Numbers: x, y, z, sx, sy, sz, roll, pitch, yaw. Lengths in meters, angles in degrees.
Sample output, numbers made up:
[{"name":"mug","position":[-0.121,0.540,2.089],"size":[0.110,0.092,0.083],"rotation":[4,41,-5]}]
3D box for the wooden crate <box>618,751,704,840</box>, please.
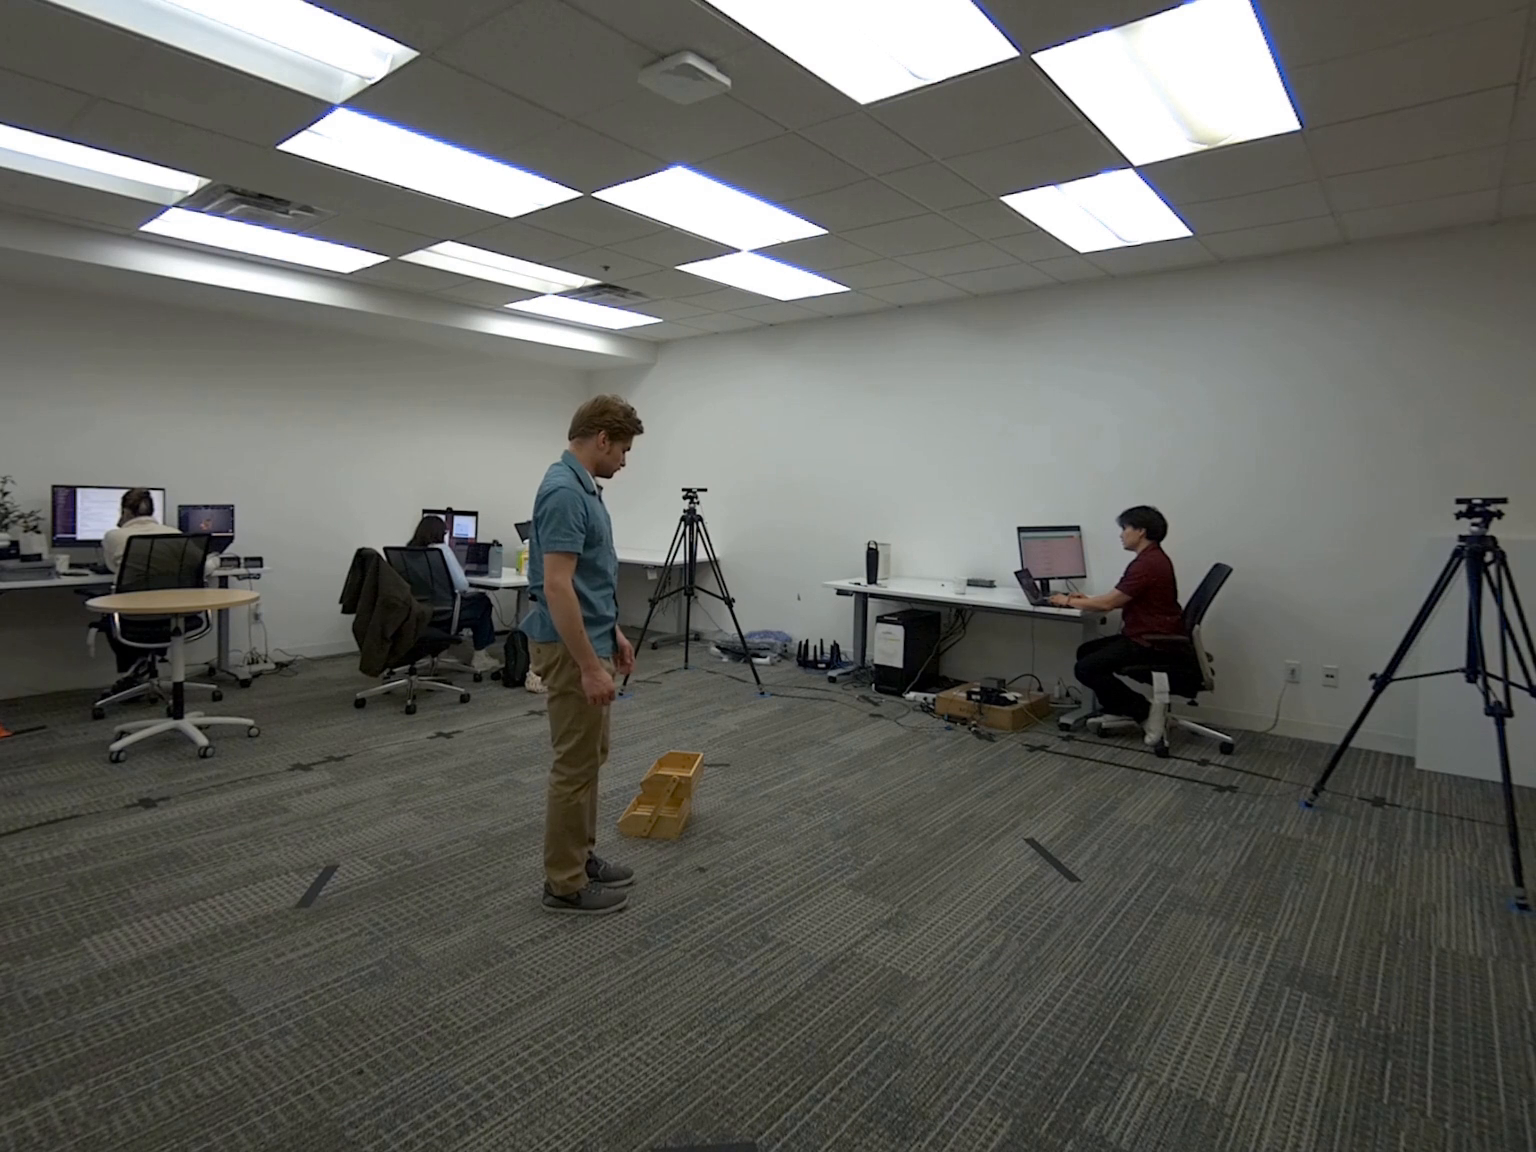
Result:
[{"name":"wooden crate","position":[-0.462,0.892,3.529],"size":[0.305,0.272,0.323],"rotation":[2,5,7]}]
